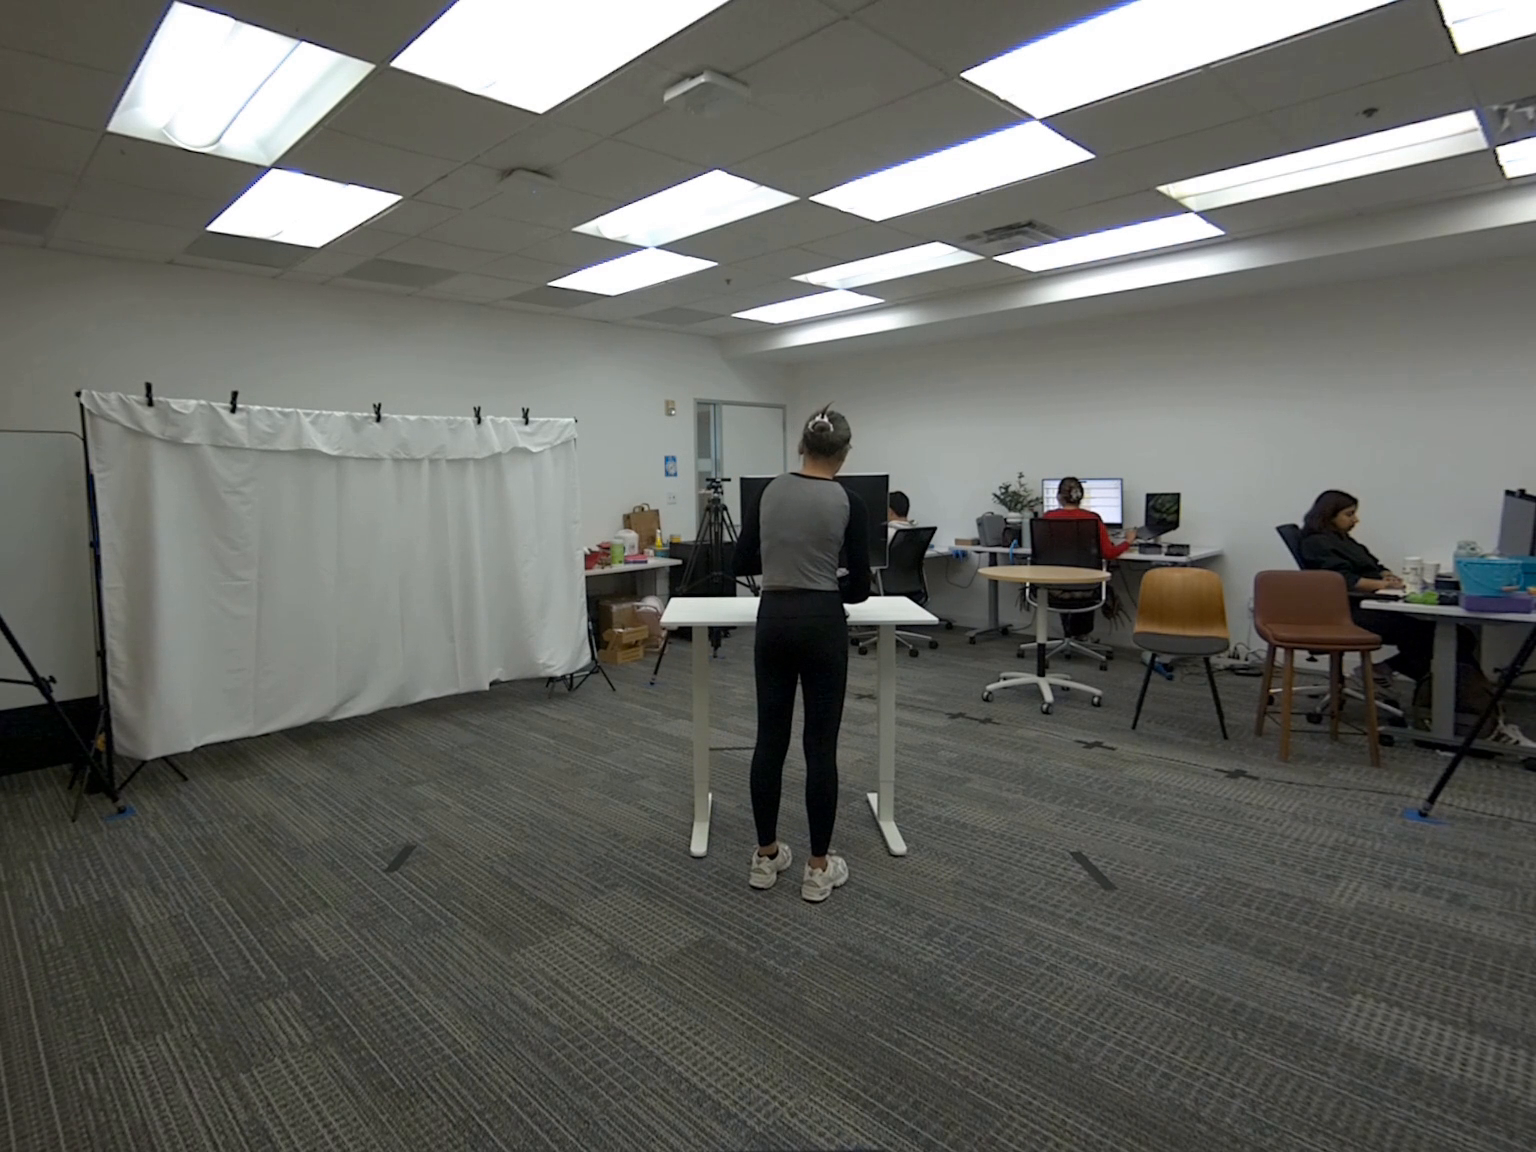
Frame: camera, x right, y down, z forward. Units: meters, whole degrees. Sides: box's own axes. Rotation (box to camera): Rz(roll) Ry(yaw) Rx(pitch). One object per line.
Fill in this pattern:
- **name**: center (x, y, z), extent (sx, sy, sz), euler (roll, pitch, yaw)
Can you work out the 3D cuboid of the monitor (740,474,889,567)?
- **monitor**: center (0.174, -0.111, 3.196), extent (0.540, 0.522, 0.187), euler (0, 2, 2)
